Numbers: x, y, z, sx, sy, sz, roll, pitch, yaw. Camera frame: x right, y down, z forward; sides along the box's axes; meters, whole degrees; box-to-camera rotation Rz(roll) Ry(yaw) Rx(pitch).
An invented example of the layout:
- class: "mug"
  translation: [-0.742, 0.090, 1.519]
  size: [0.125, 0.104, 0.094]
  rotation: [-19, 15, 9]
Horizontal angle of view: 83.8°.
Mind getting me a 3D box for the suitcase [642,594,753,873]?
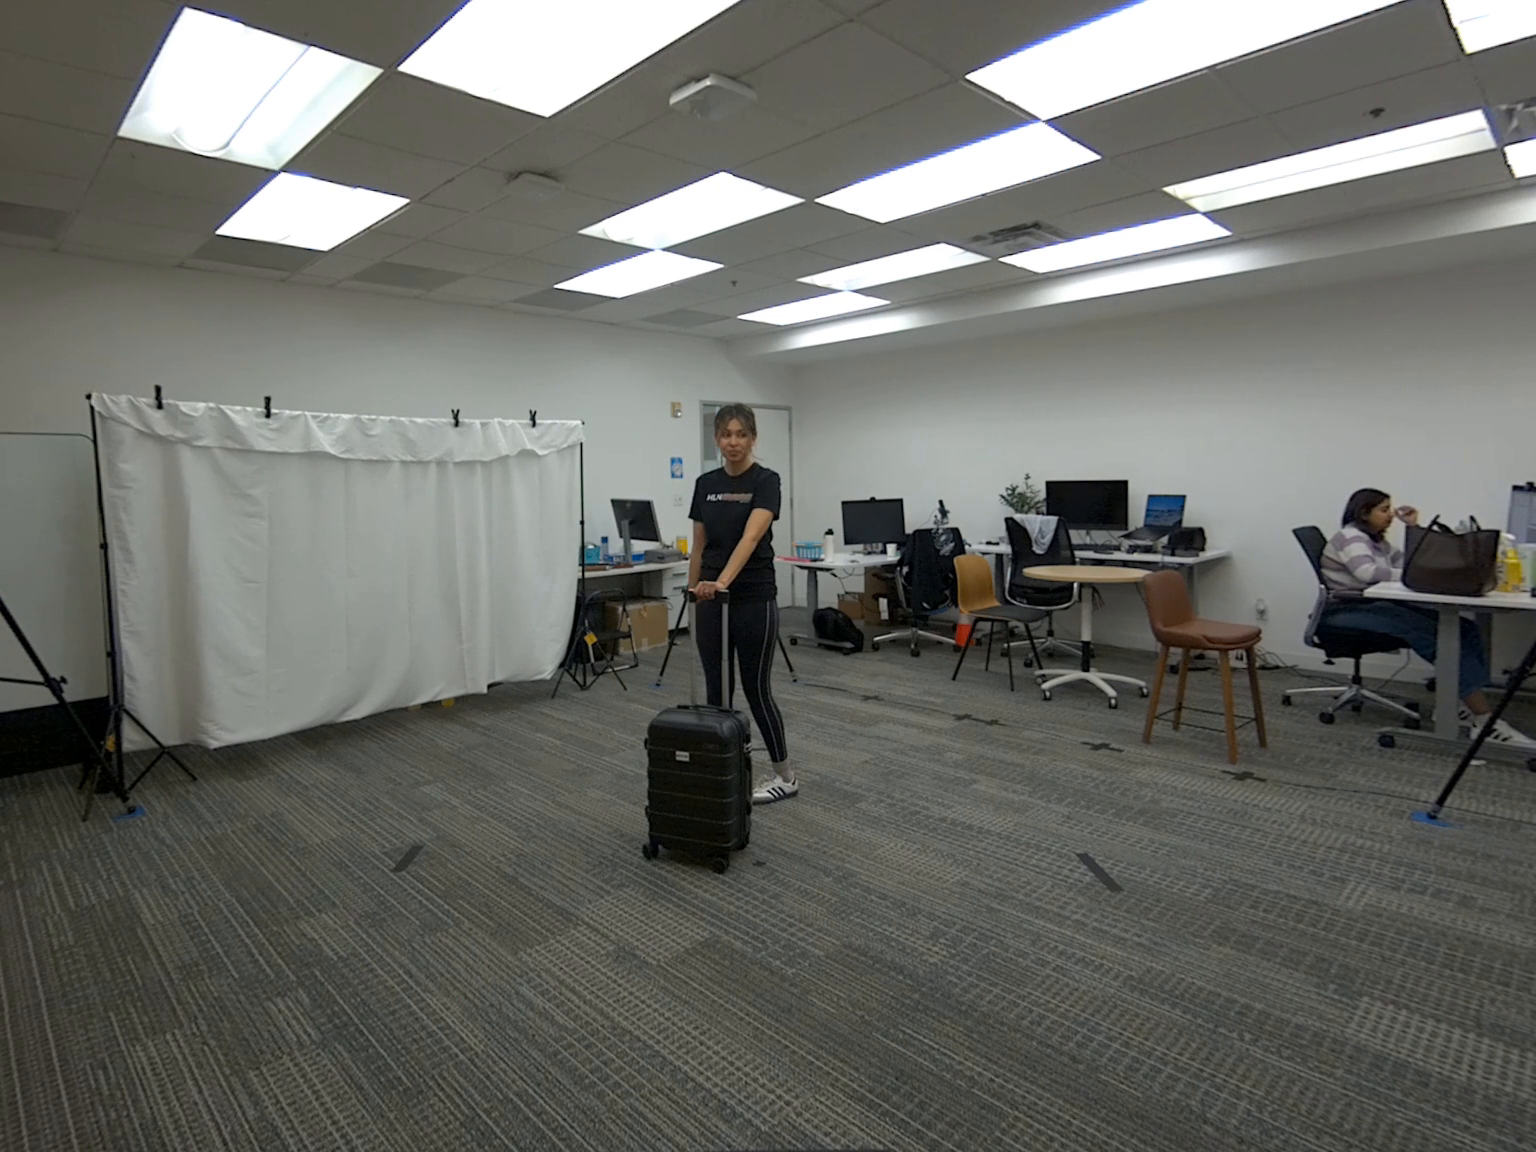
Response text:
- class: "suitcase"
  translation: [-0.255, 0.569, 3.157]
  size: [0.392, 0.972, 0.253]
  rotation: [3, 8, 21]
